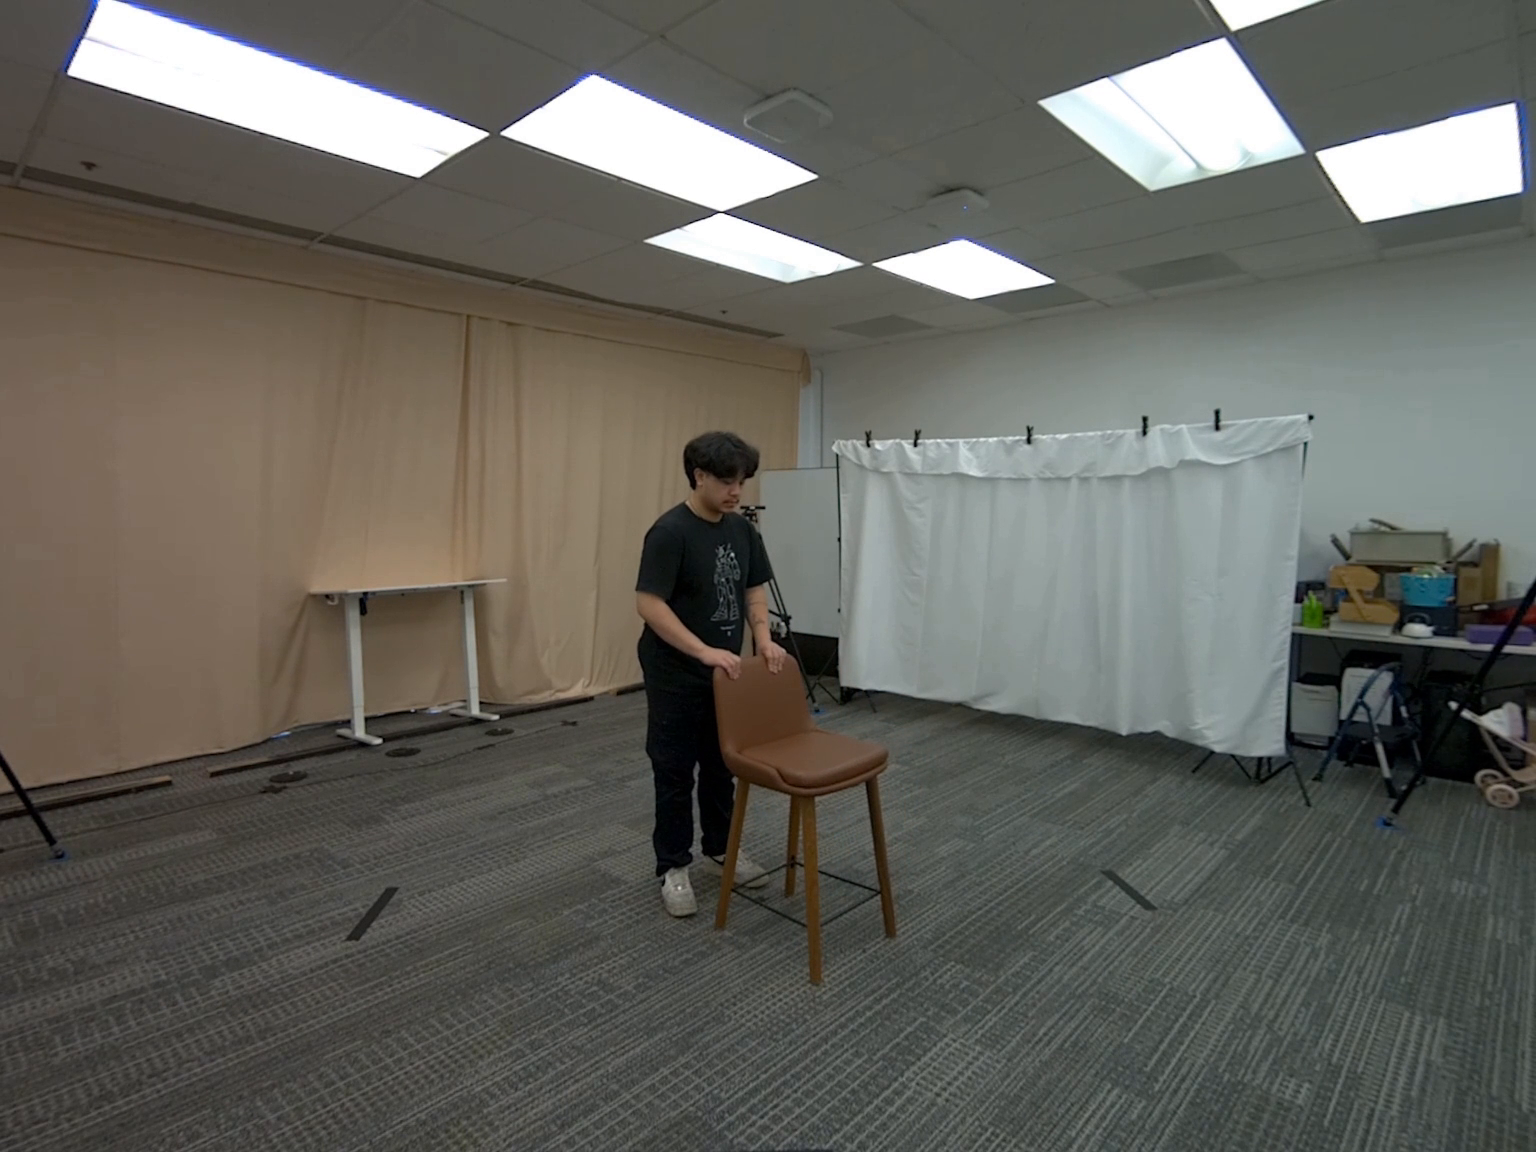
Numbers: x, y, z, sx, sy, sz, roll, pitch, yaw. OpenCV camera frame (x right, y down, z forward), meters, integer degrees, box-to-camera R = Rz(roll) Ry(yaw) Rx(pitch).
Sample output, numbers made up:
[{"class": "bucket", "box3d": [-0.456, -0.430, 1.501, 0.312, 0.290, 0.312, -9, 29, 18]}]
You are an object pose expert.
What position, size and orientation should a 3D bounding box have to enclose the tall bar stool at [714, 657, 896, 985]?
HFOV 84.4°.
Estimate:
[{"class": "tall bar stool", "box3d": [0.112, 0.728, 2.726, 0.483, 0.889, 0.442, 0, 3, 45]}]
